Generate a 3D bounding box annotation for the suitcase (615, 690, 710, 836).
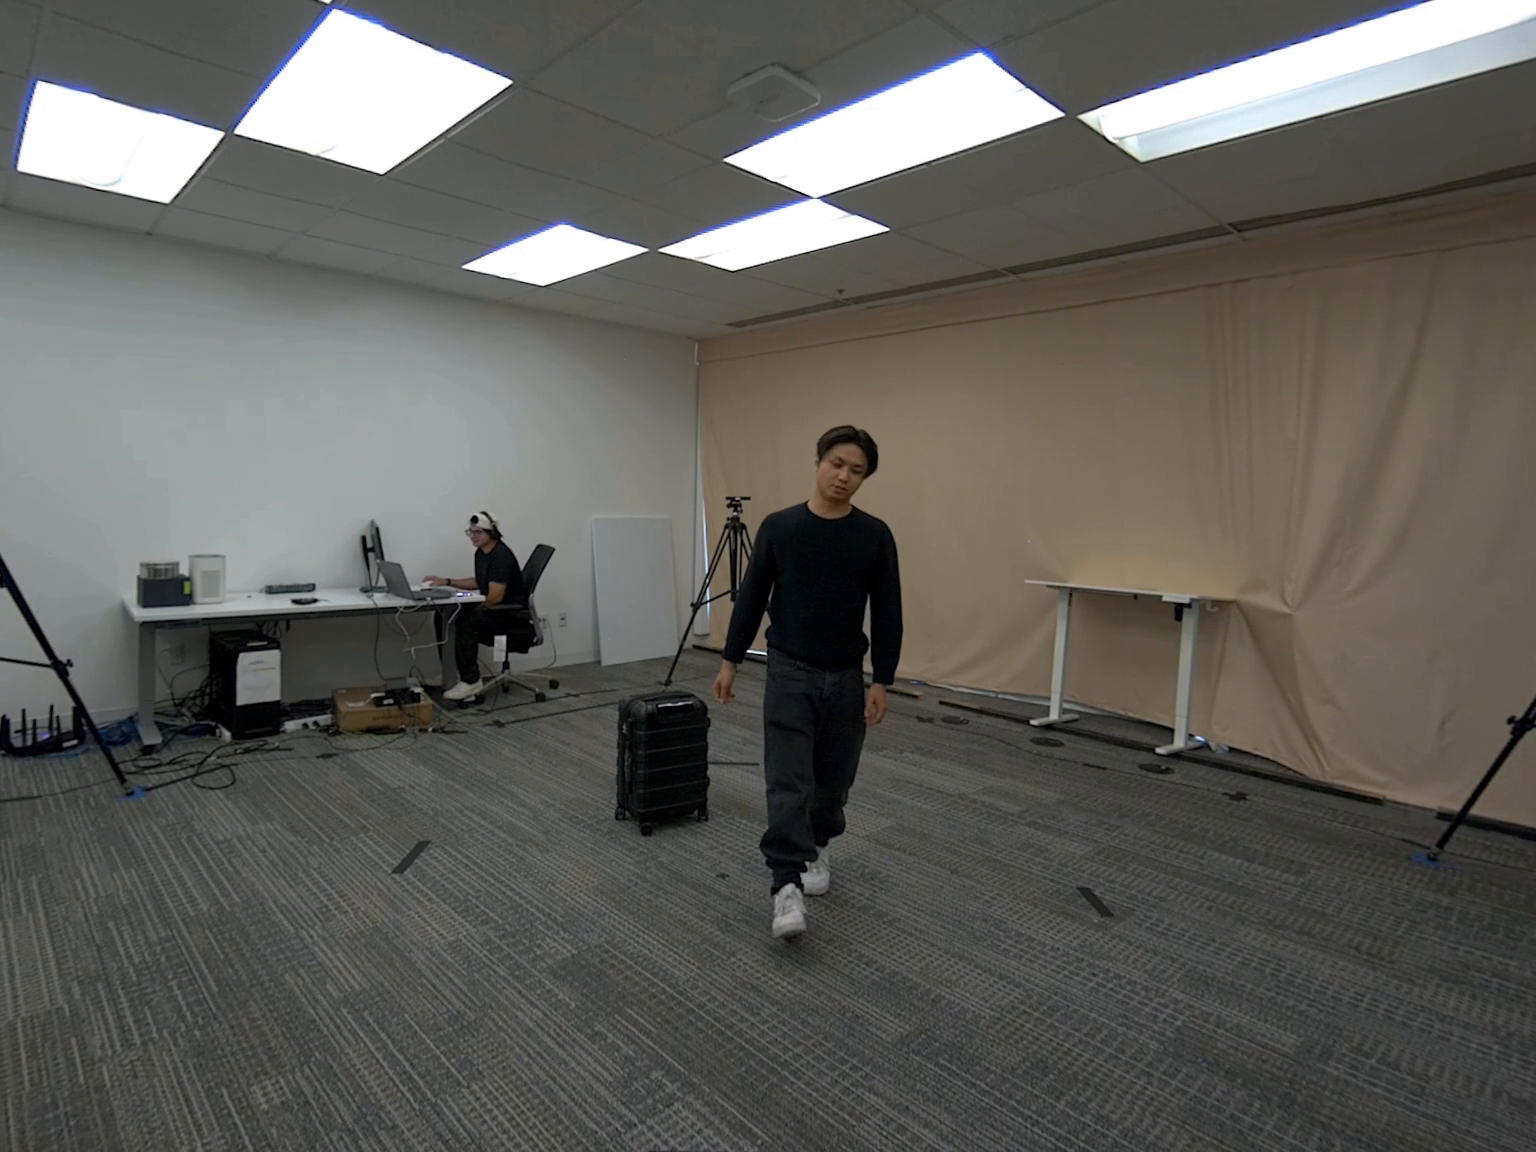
[{"bbox_3d":[-0.466,0.776,3.625,0.367,0.548,0.254,-2,4,-34],"label":"suitcase"}]
